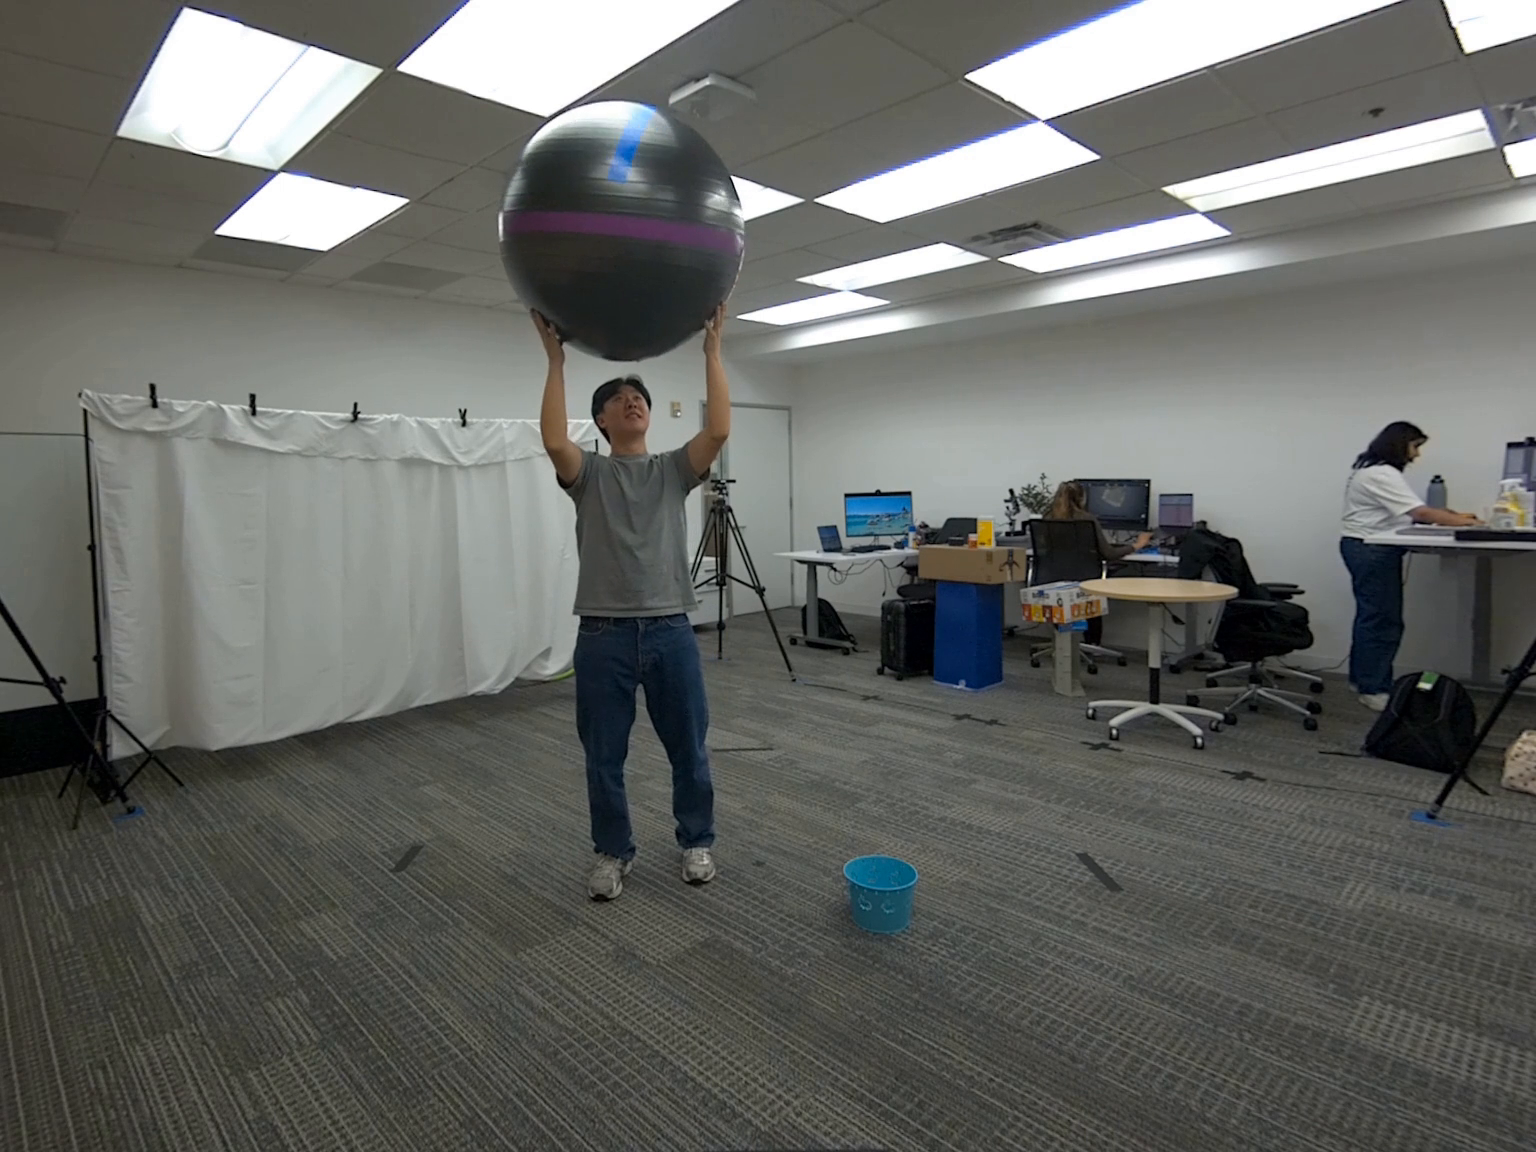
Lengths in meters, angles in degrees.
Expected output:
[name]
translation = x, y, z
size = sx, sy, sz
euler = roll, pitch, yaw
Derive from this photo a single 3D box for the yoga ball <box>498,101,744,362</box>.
[yoga ball]
translation = -0.449, -1.067, 2.677
size = 0.757, 0.755, 0.762
euler = -1, 5, -2
